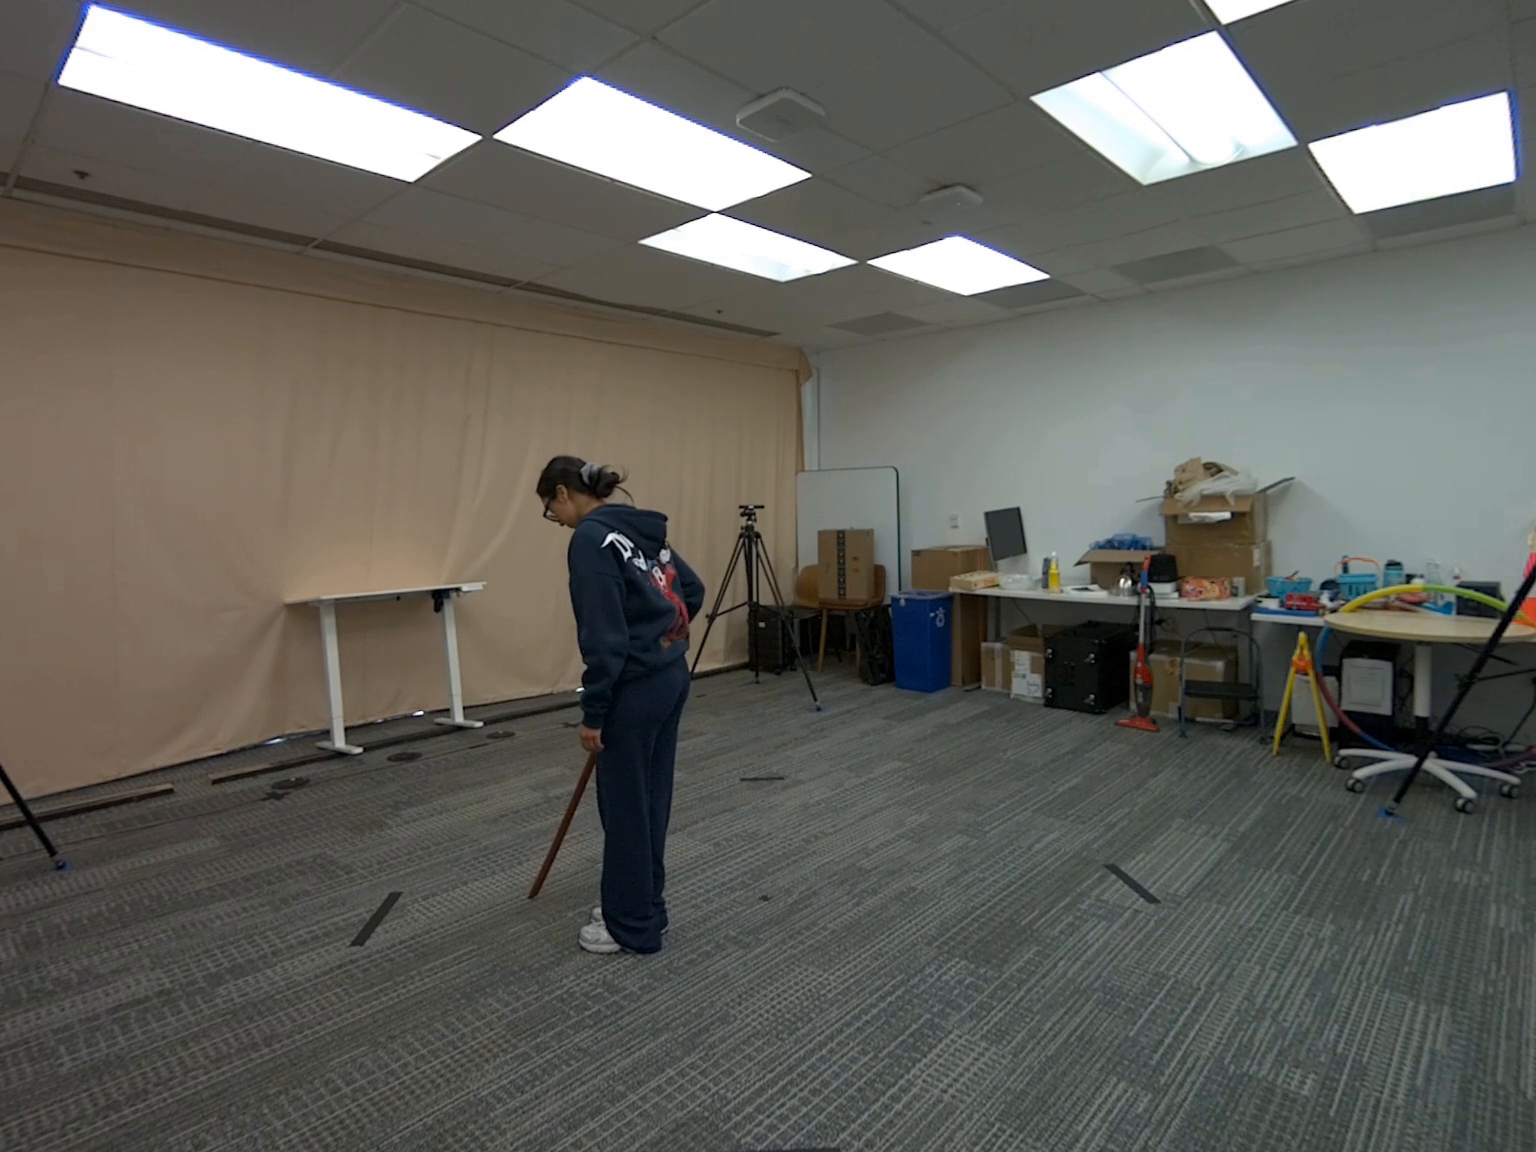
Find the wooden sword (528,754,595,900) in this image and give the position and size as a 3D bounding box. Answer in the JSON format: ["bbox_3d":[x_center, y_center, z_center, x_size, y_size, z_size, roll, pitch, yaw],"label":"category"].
[{"bbox_3d":[-0.652,0.704,2.977,0.024,1.024,0.051,24,3,-6],"label":"wooden sword"}]
